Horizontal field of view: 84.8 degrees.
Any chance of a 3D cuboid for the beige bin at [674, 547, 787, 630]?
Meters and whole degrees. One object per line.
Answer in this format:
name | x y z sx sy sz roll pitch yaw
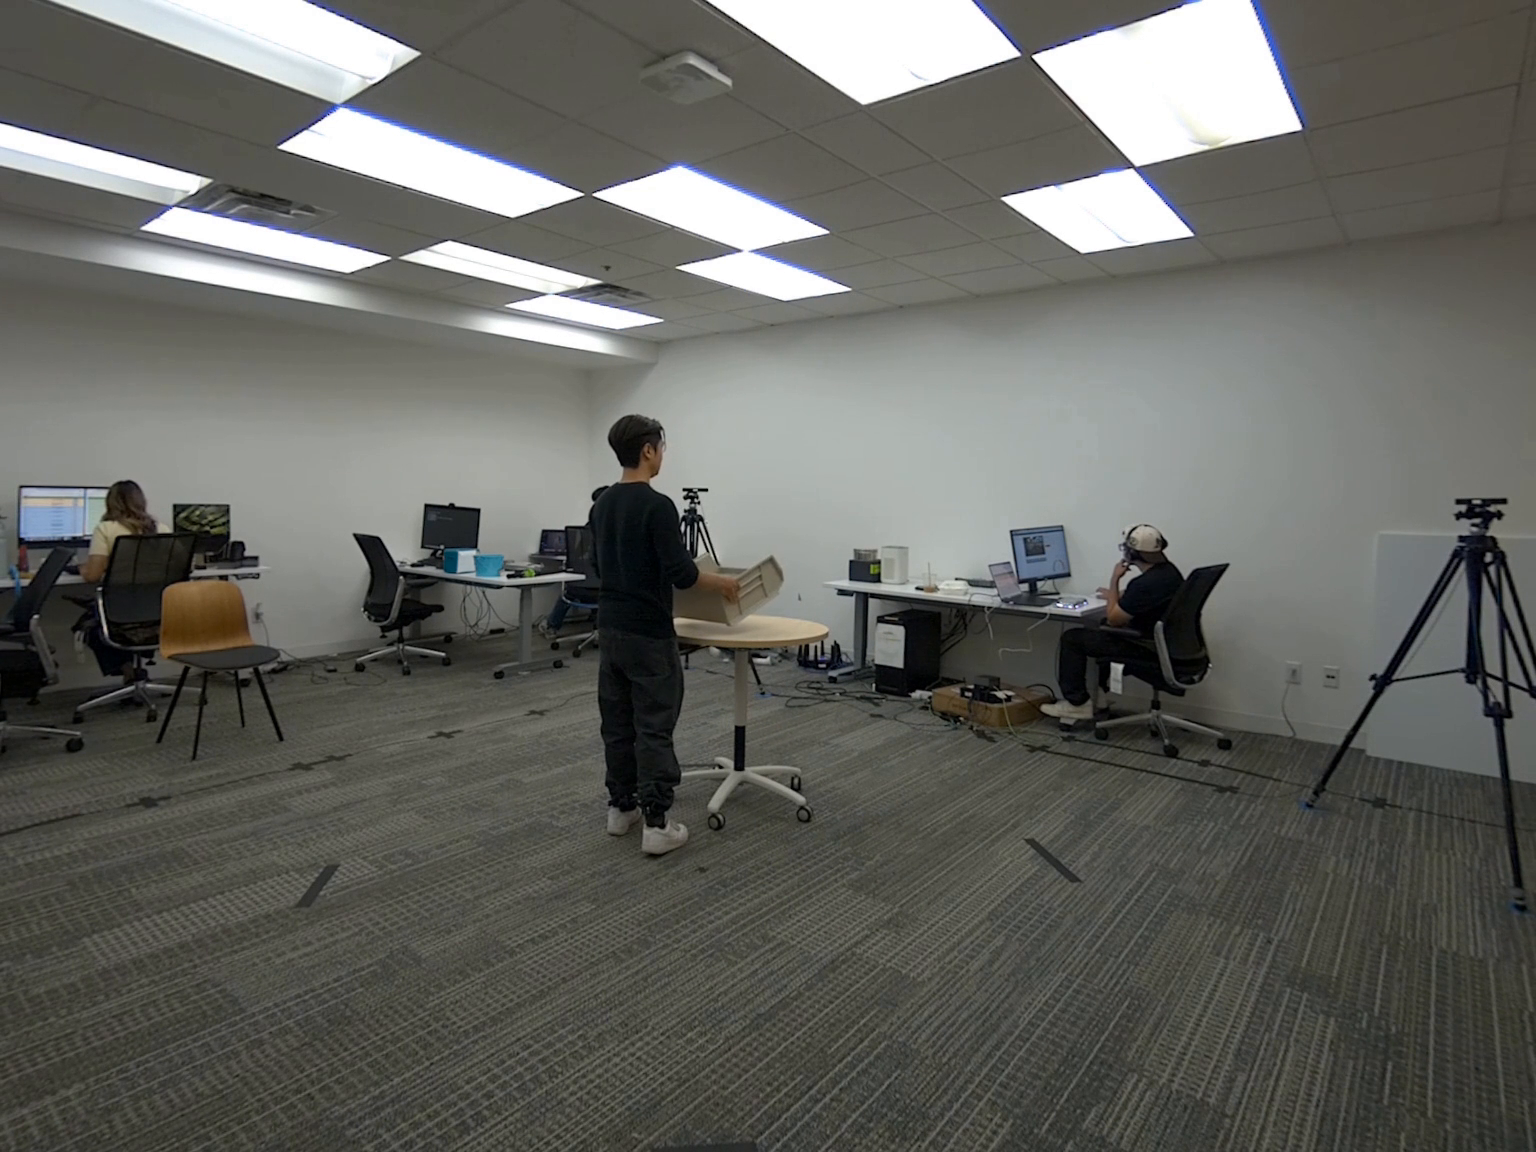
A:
beige bin | -0.217 0.041 3.728 0.436 0.185 0.373 4 29 45
